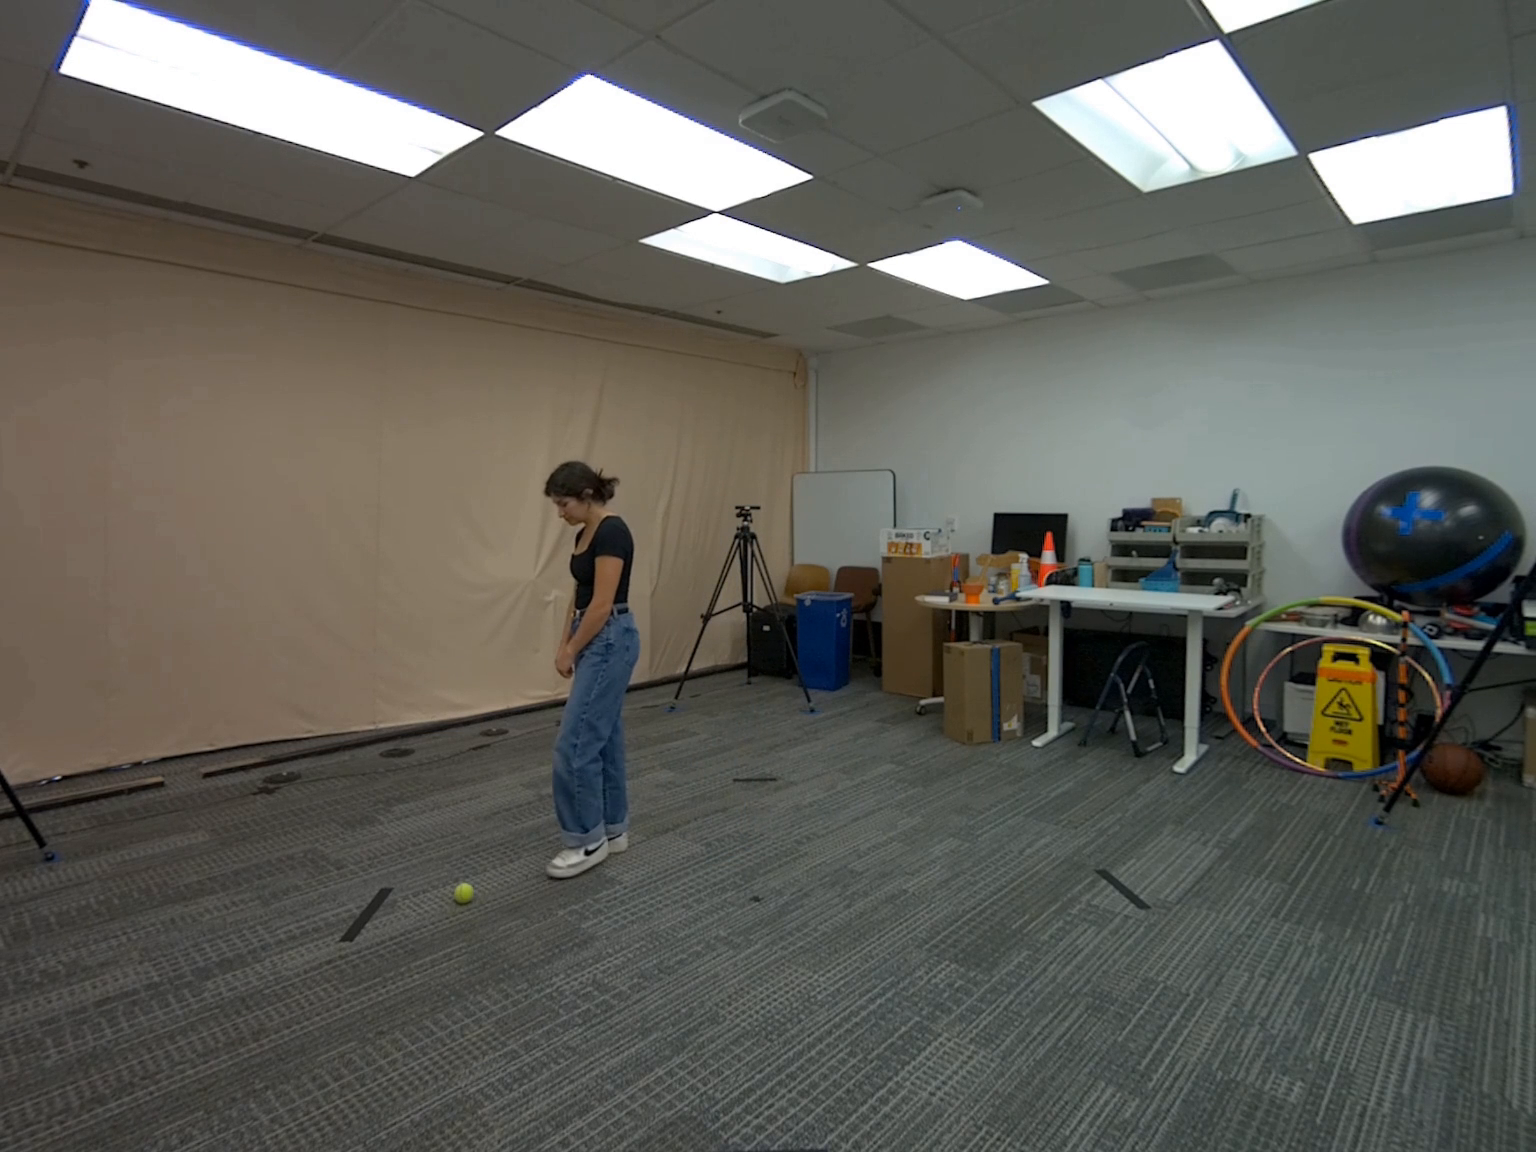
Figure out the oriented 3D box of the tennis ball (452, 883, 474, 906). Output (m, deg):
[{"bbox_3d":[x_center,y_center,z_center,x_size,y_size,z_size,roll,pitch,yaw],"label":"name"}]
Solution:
[{"bbox_3d":[-1.077,1.114,2.978,0.066,0.066,0.067,0,4,-2],"label":"tennis ball"}]
